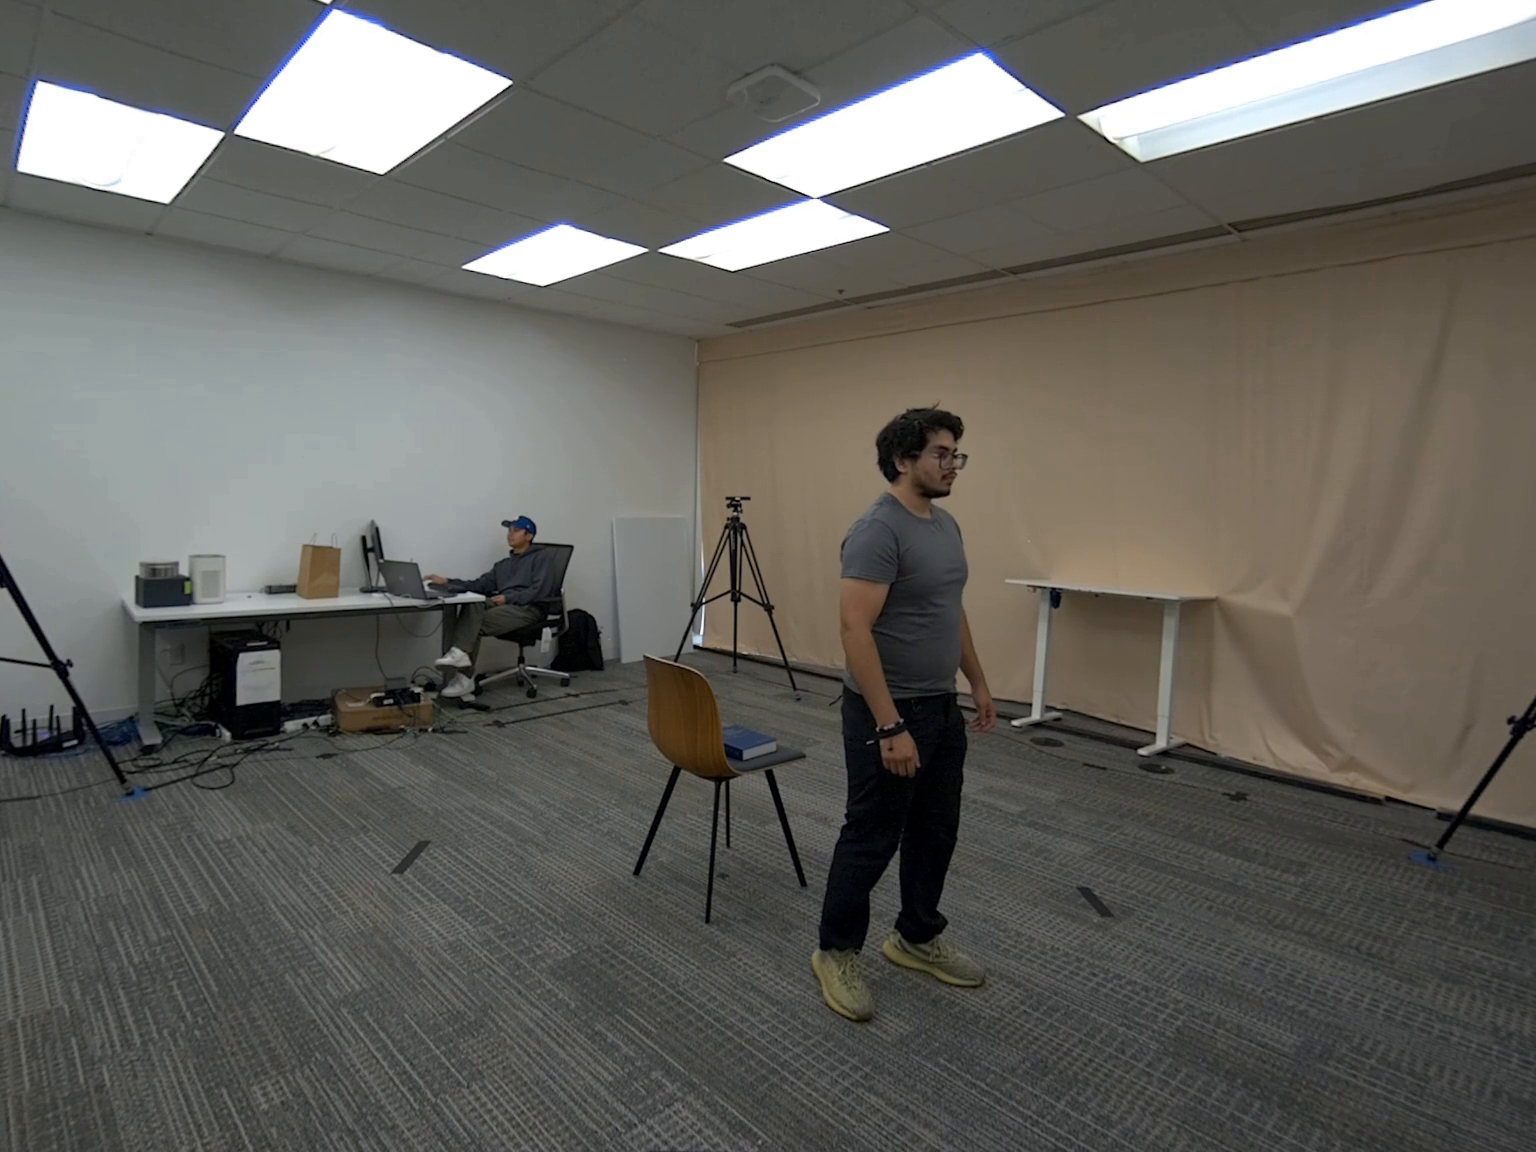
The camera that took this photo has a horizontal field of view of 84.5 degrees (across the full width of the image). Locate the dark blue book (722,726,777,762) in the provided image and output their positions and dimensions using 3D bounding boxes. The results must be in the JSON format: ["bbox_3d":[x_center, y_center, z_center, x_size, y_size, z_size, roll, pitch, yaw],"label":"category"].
[{"bbox_3d":[-0.105,0.605,3.064,0.160,0.045,0.251,-8,10,-41],"label":"dark blue book"}]
